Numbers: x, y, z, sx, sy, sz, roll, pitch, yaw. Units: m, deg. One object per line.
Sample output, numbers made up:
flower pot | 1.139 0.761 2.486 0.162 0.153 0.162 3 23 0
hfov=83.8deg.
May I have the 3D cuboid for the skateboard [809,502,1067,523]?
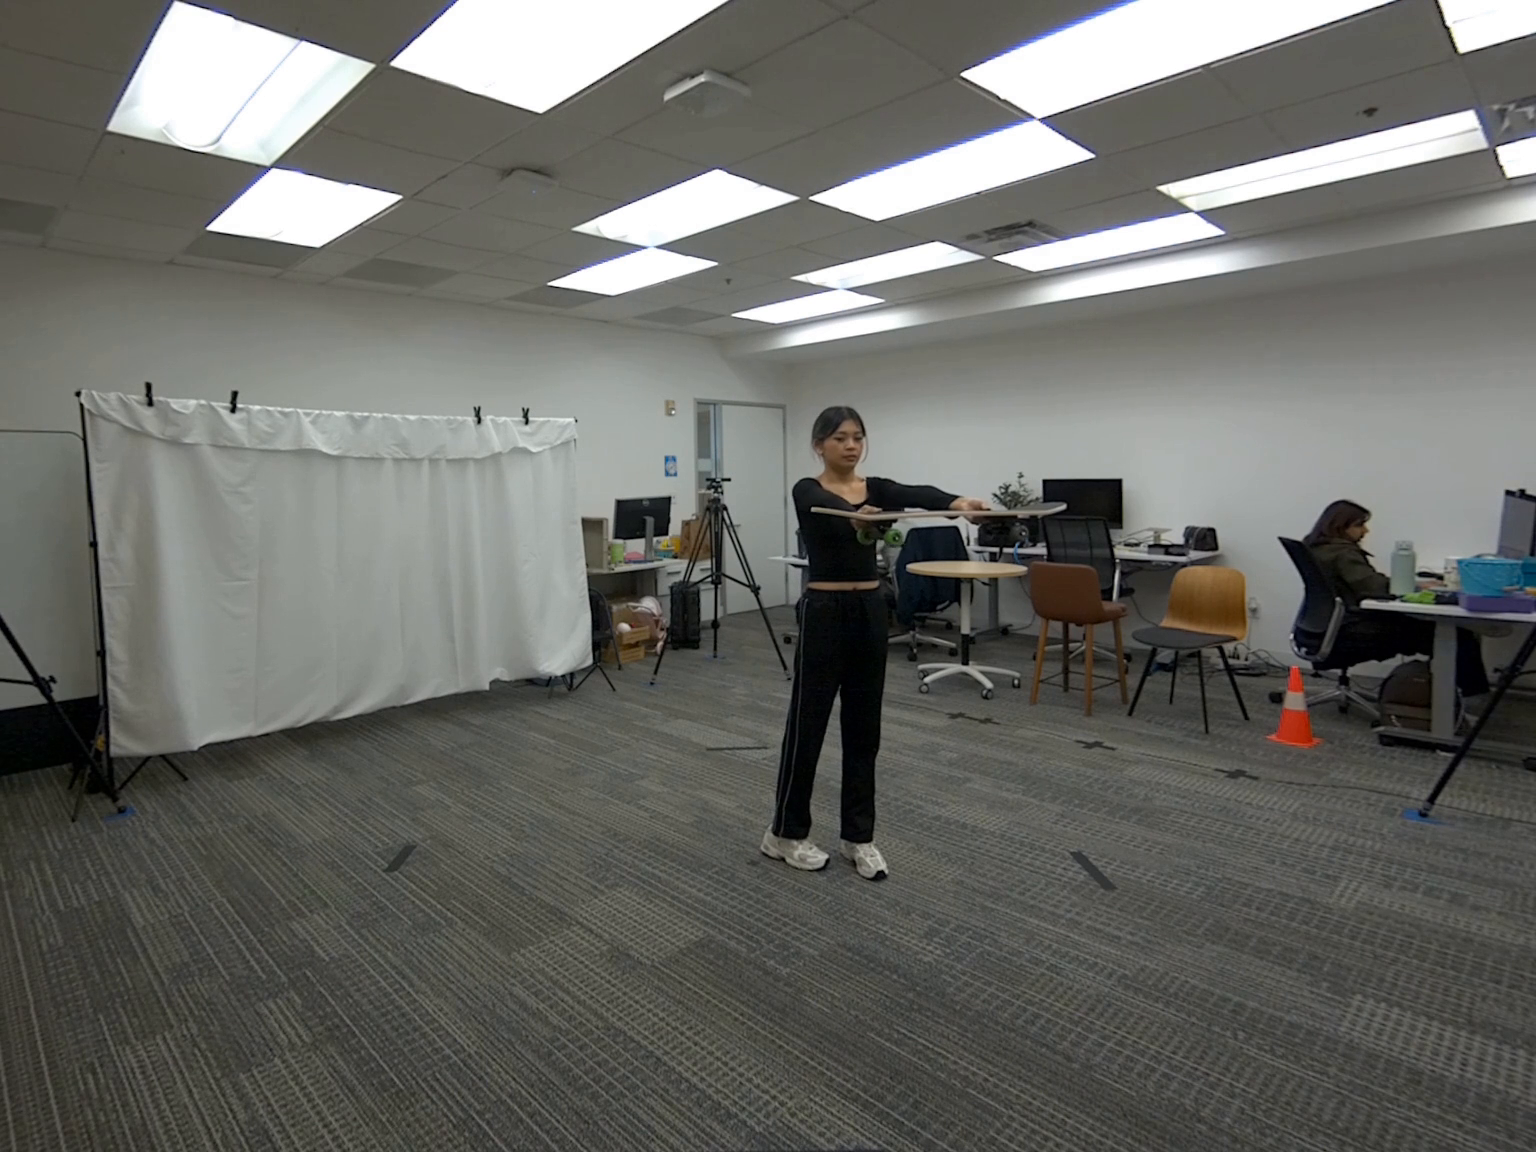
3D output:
skateboard | 0.496 -0.146 2.402 0.774 0.110 0.197 -2 5 -15
